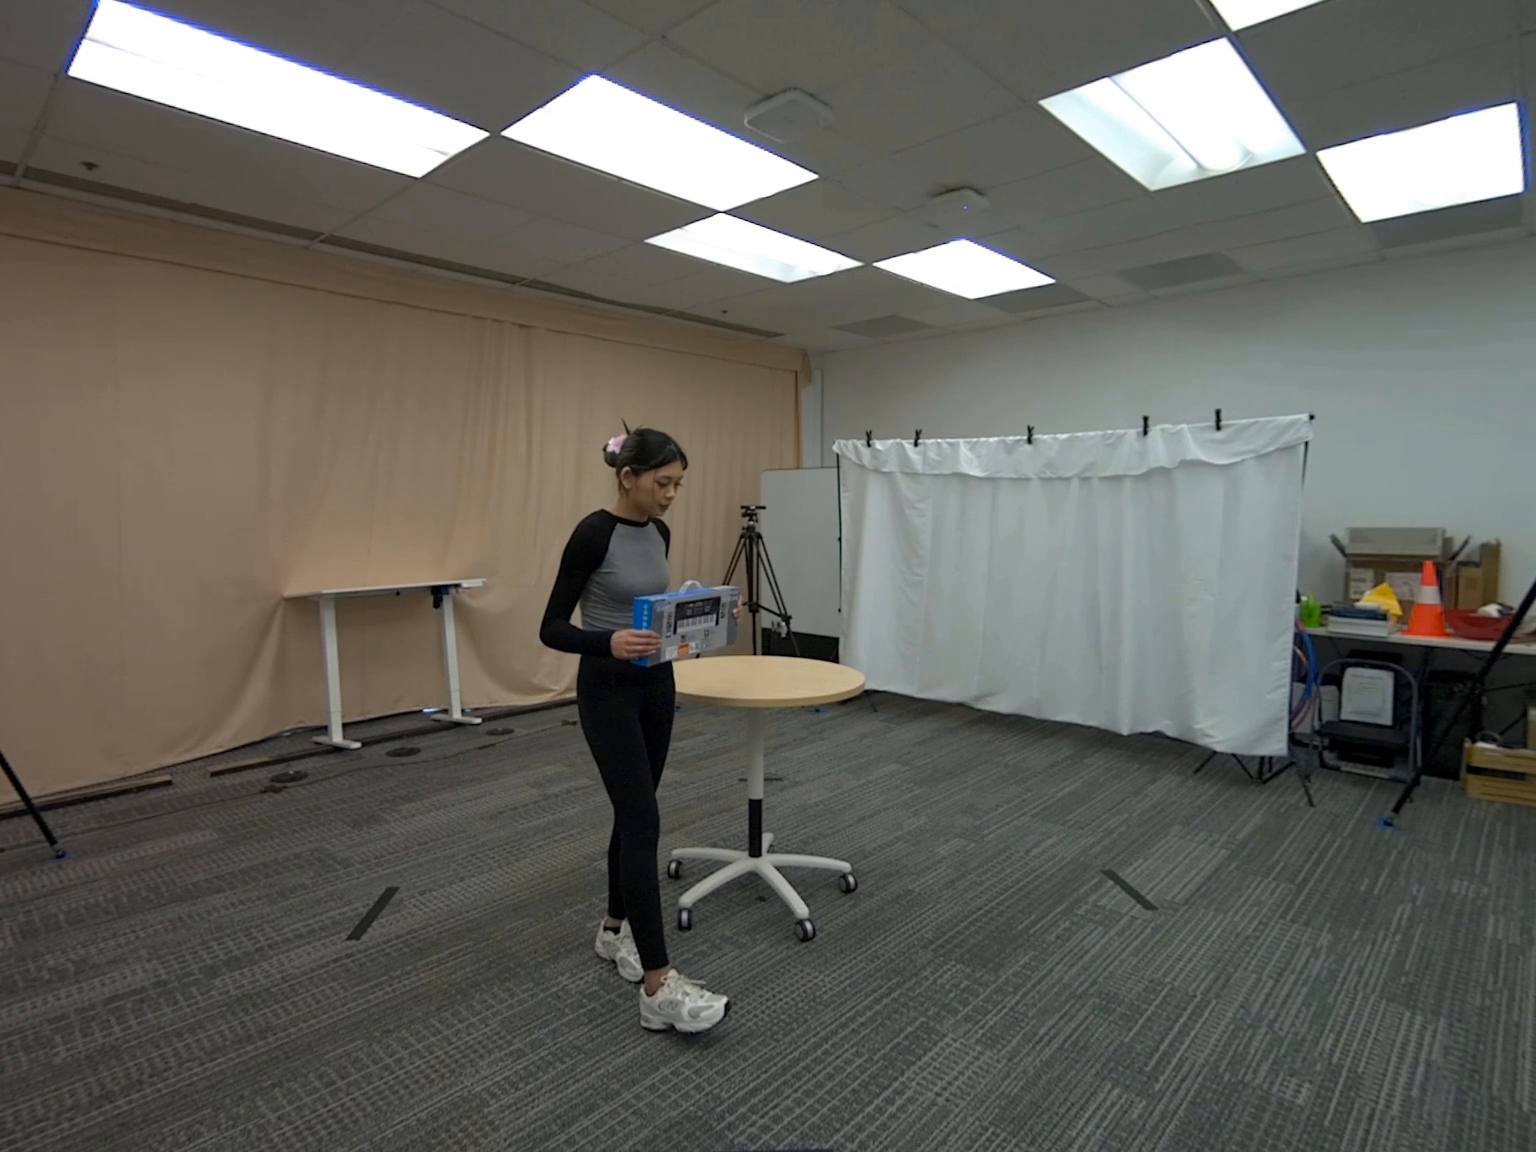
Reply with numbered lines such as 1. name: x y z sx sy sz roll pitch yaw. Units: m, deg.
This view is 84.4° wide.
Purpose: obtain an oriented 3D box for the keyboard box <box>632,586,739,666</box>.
1. keyboard box: -0.216 0.131 2.325 0.061 0.175 0.424 7 6 32
